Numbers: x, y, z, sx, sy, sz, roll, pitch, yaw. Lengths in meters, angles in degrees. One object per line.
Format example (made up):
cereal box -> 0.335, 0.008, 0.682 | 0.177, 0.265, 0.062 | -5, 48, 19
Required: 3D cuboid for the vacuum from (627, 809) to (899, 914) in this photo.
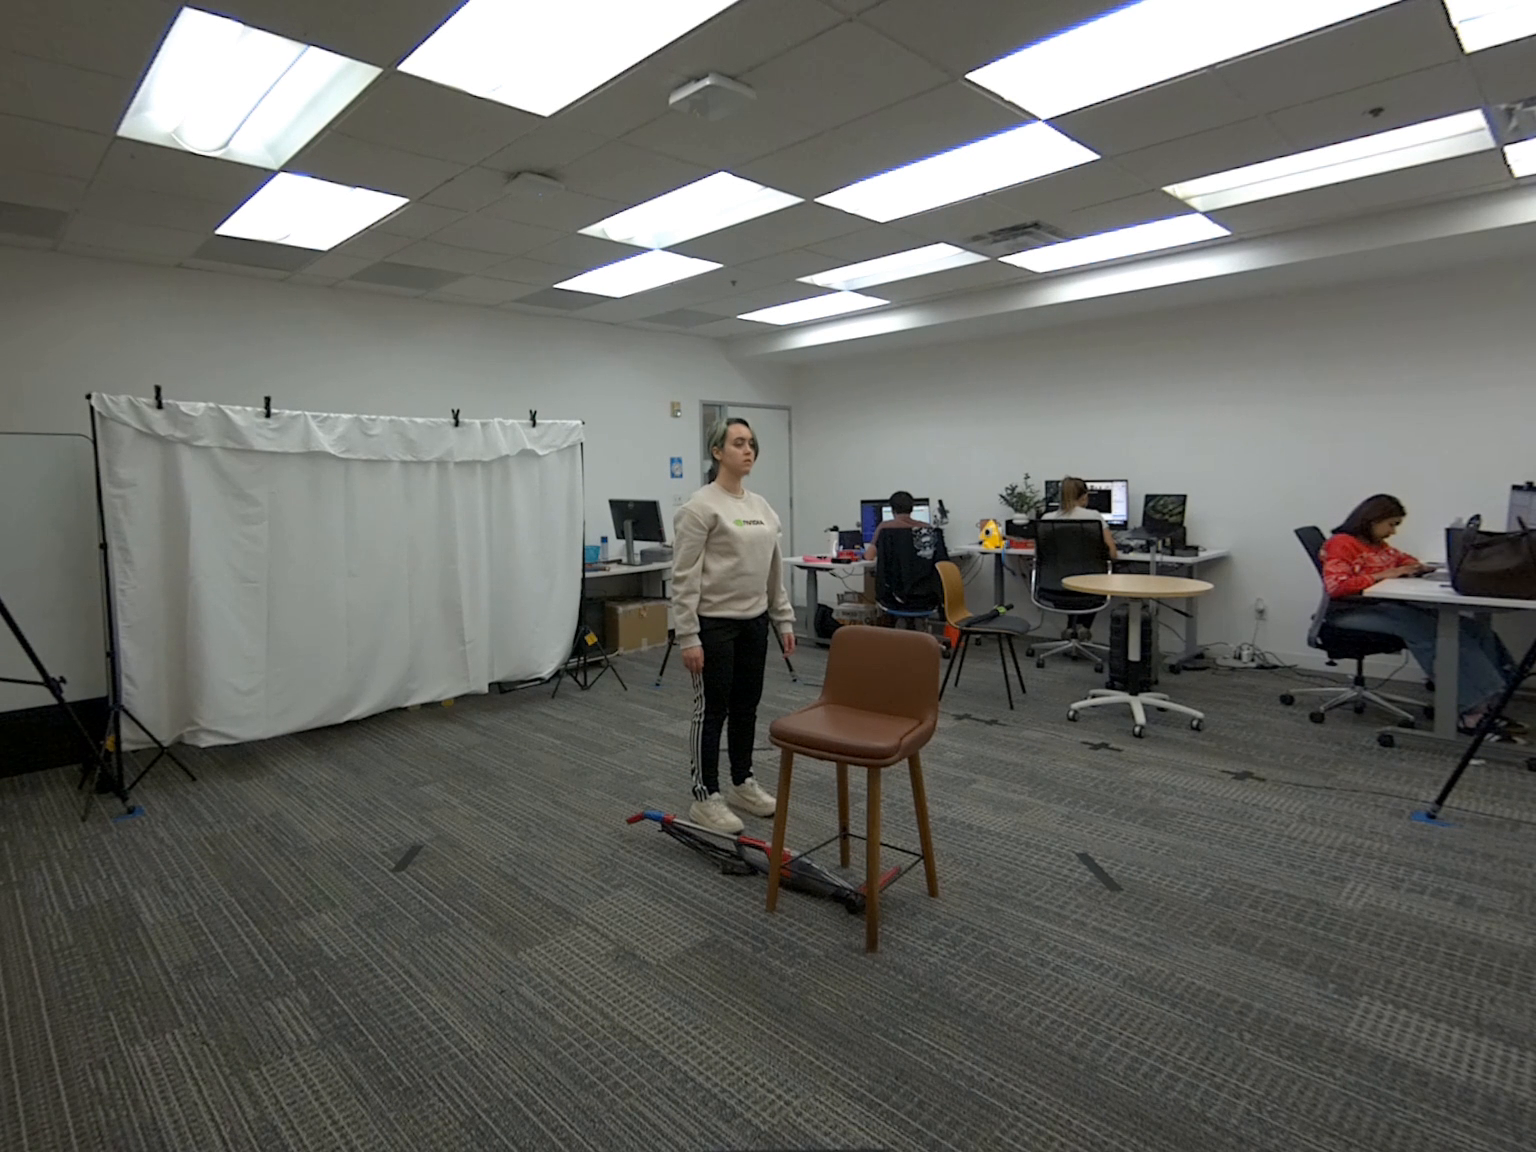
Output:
vacuum -> -0.103, 1.006, 3.059 | 1.079, 0.143, 0.246 | 3, 5, 34
